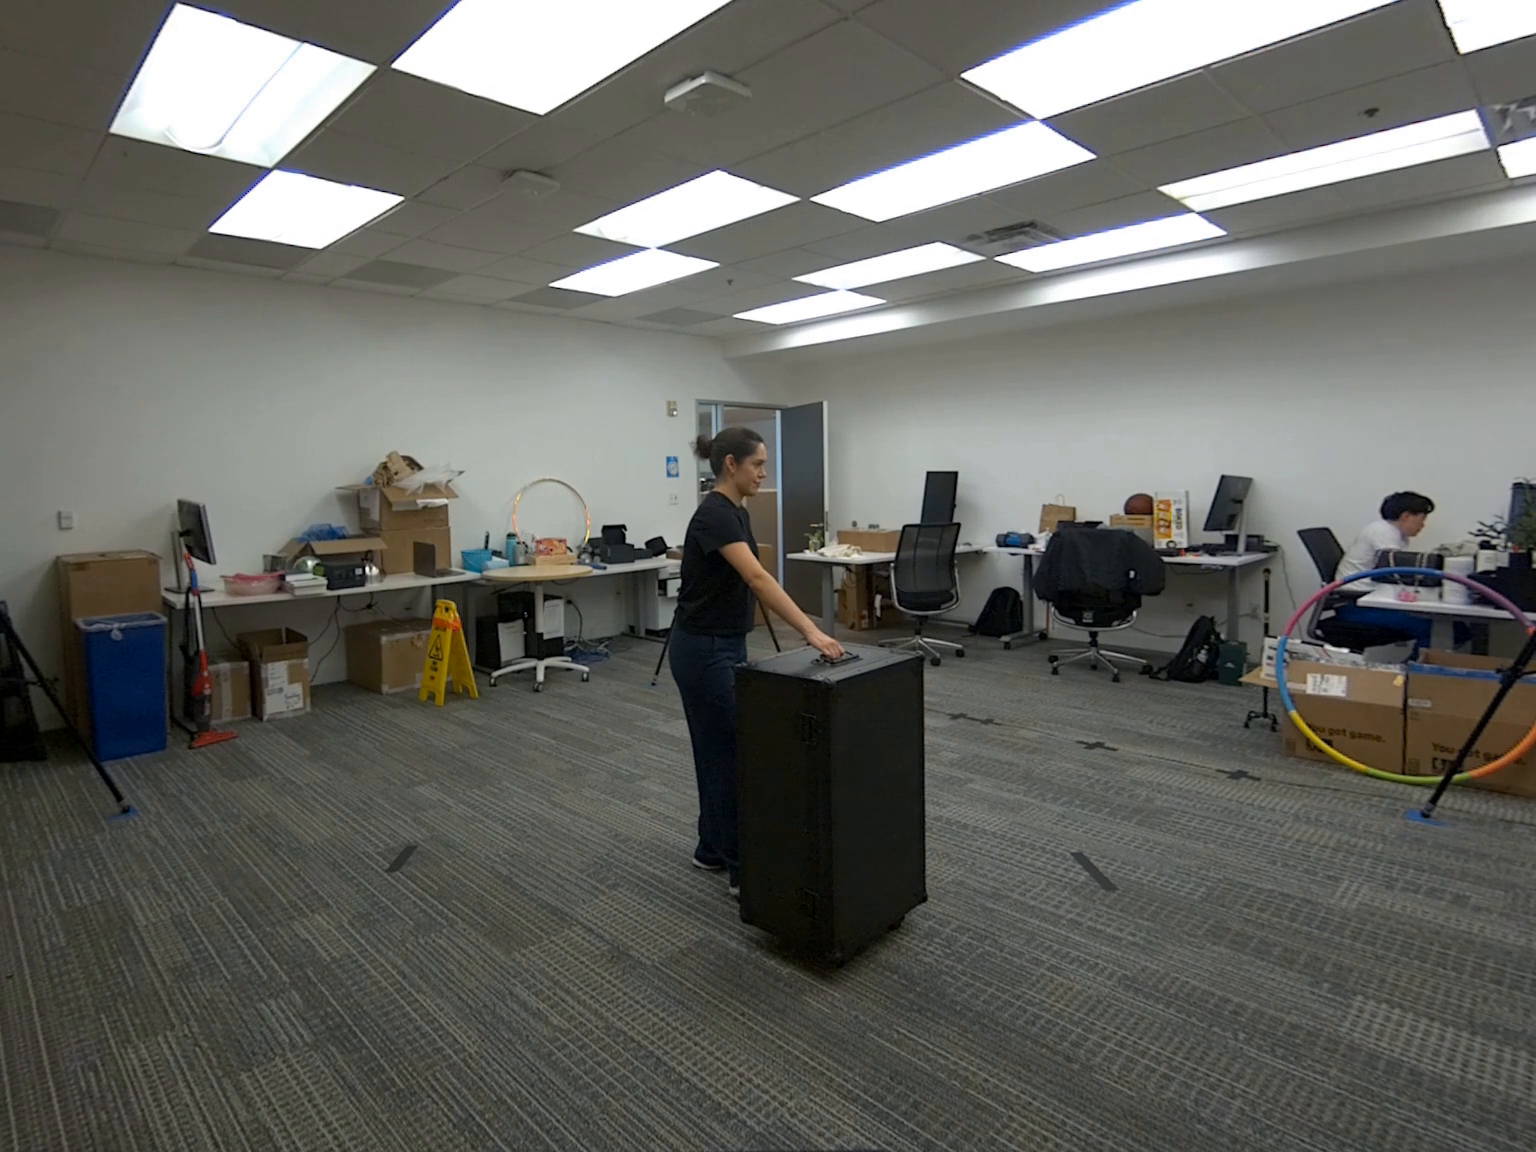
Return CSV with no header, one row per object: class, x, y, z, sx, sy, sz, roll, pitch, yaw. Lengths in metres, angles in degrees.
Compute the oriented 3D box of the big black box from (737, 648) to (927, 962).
big black box,0.189,0.669,2.609,0.408,0.859,0.508,1,5,43
